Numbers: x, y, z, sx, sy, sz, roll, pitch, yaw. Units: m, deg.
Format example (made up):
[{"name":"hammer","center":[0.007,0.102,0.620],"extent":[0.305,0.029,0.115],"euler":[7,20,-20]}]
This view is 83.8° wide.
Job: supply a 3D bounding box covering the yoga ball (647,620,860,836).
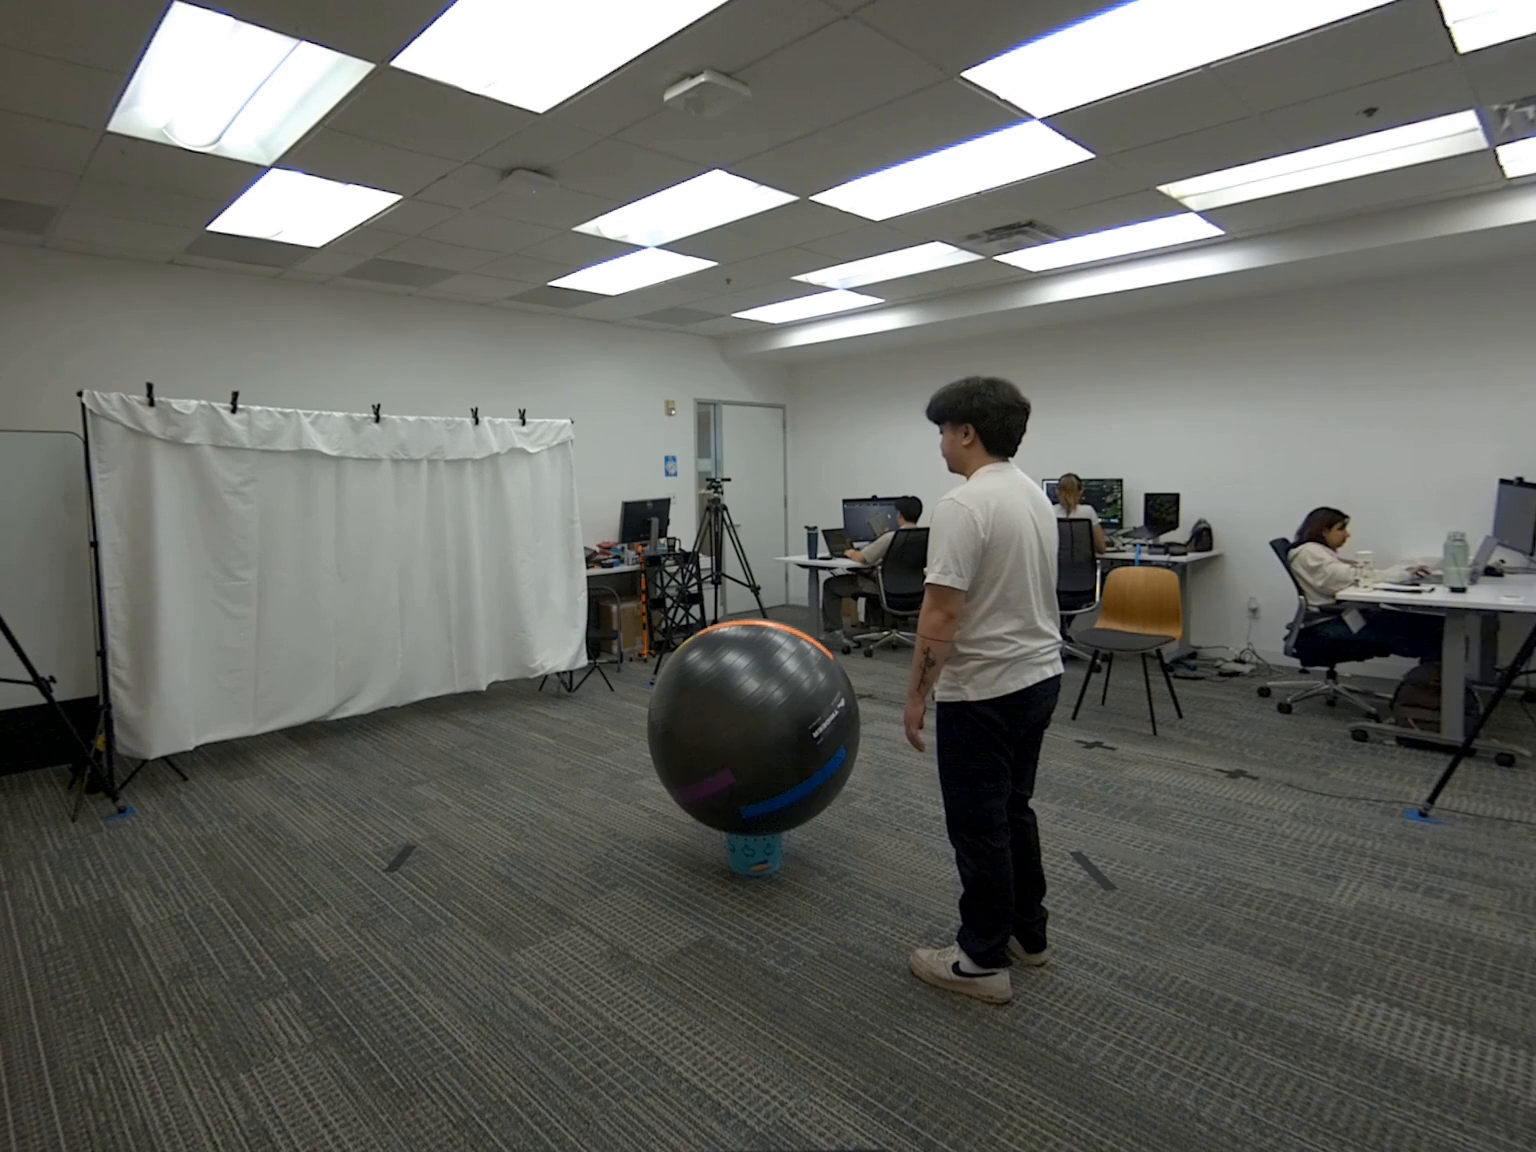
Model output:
[{"name":"yoga ball","center":[-0.054,0.534,3.062],"extent":[0.757,0.755,0.762],"euler":[-1,5,-2]}]
